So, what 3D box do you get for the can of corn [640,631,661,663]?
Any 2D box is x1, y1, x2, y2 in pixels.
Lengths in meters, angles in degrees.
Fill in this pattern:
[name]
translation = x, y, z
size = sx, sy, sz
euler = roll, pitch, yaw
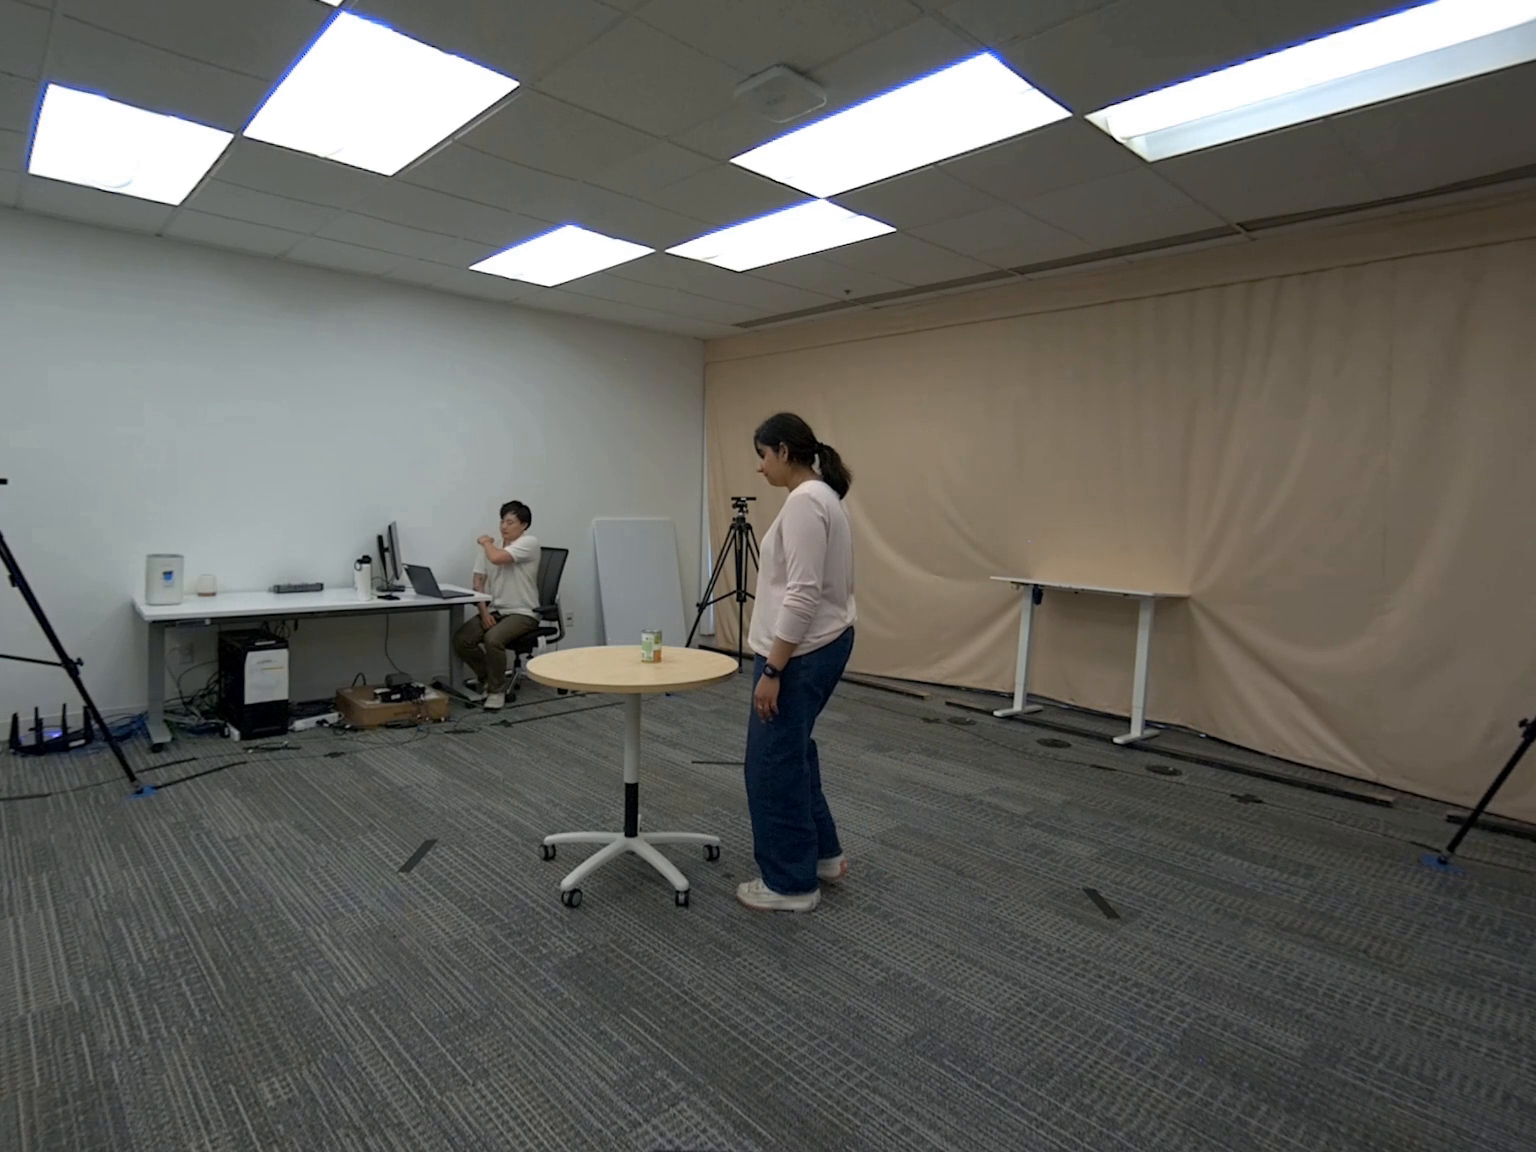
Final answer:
[can of corn]
translation = -0.433, 0.259, 3.112
size = 0.074, 0.111, 0.074
euler = 3, 2, -1
